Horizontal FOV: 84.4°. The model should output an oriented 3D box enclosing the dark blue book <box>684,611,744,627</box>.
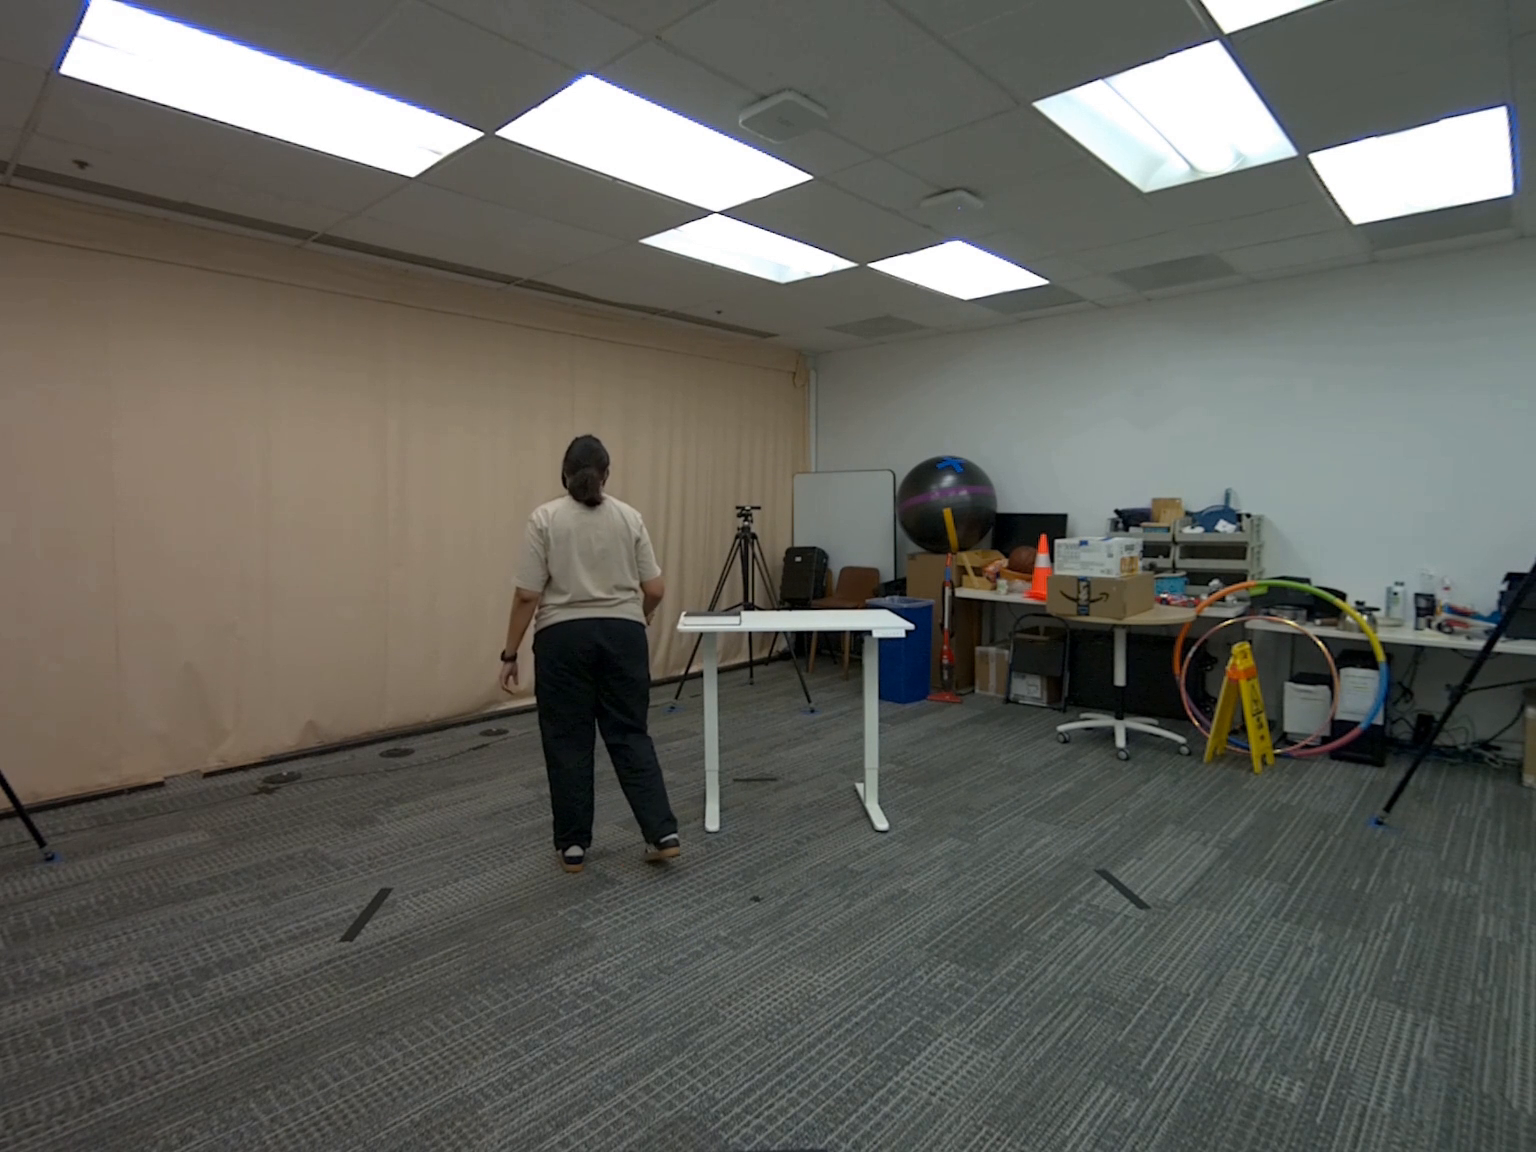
[{"bbox_3d":[-0.237,0.184,3.701,0.246,0.045,0.163,-1,3,4],"label":"dark blue book"}]
